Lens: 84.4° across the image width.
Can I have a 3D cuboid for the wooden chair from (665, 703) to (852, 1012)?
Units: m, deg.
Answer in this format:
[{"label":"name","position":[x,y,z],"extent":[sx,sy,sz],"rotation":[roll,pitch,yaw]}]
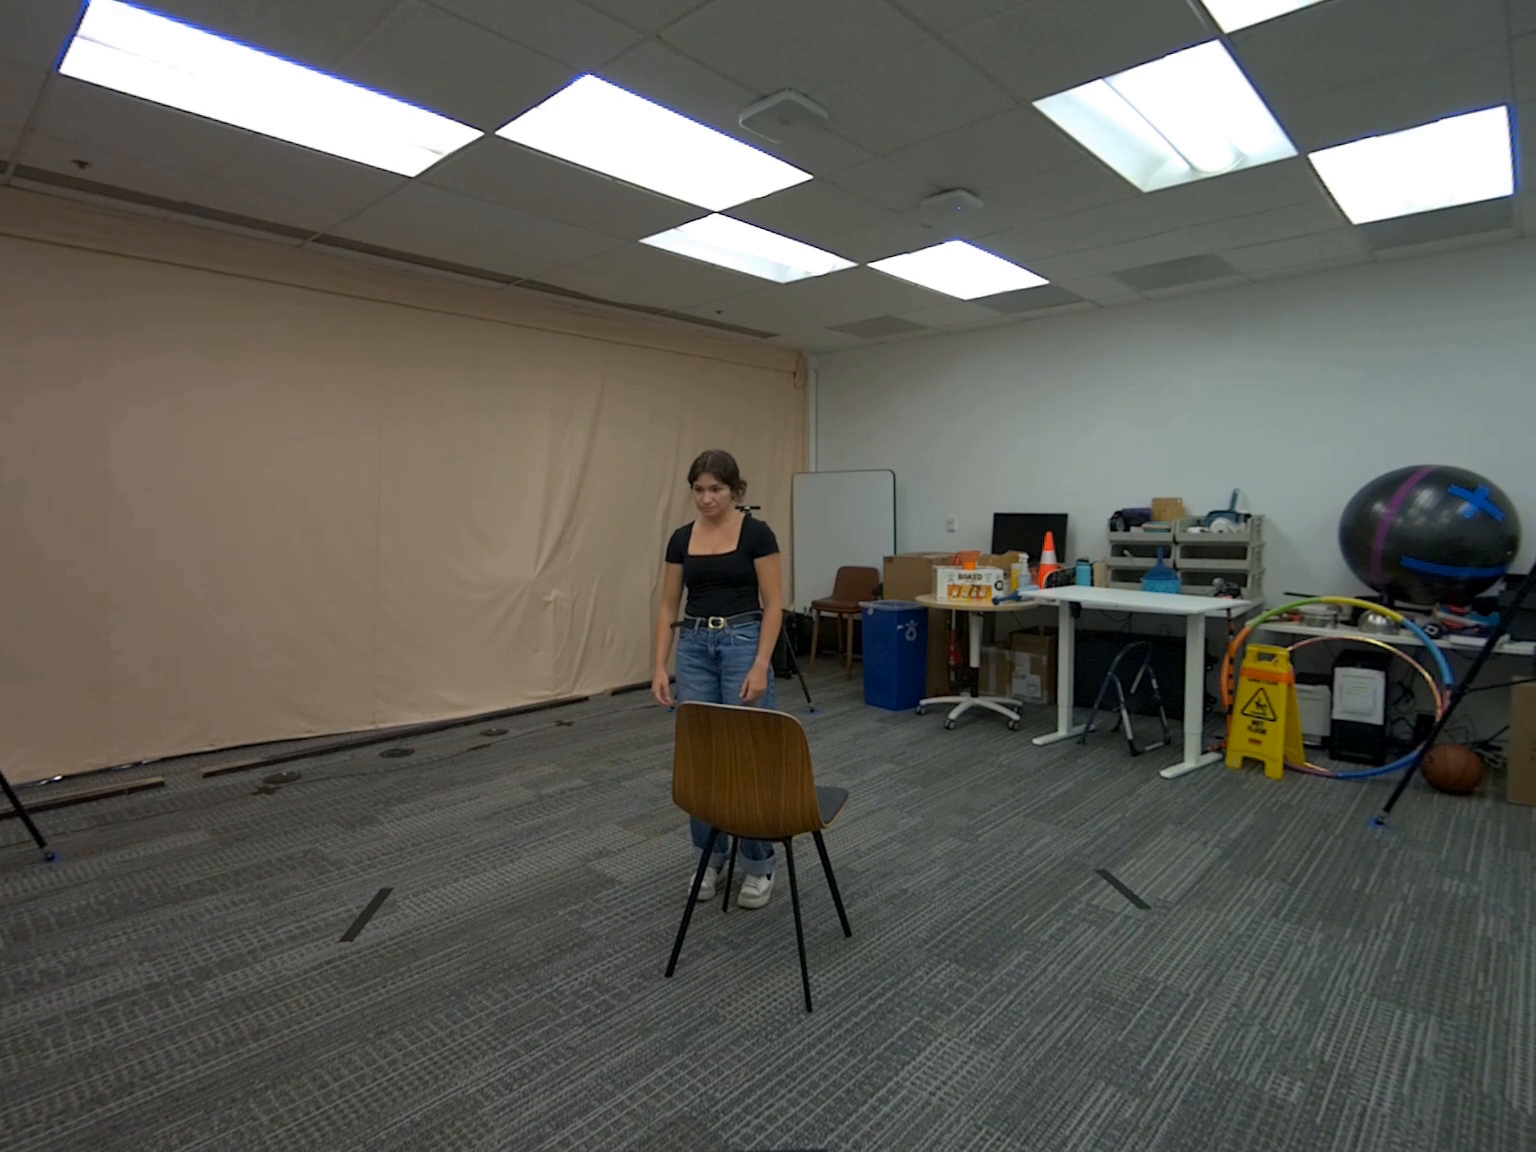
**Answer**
[{"label":"wooden chair","position":[-0.011,0.746,2.589],"extent":[0.489,0.873,0.513],"rotation":[1,8,22]}]
